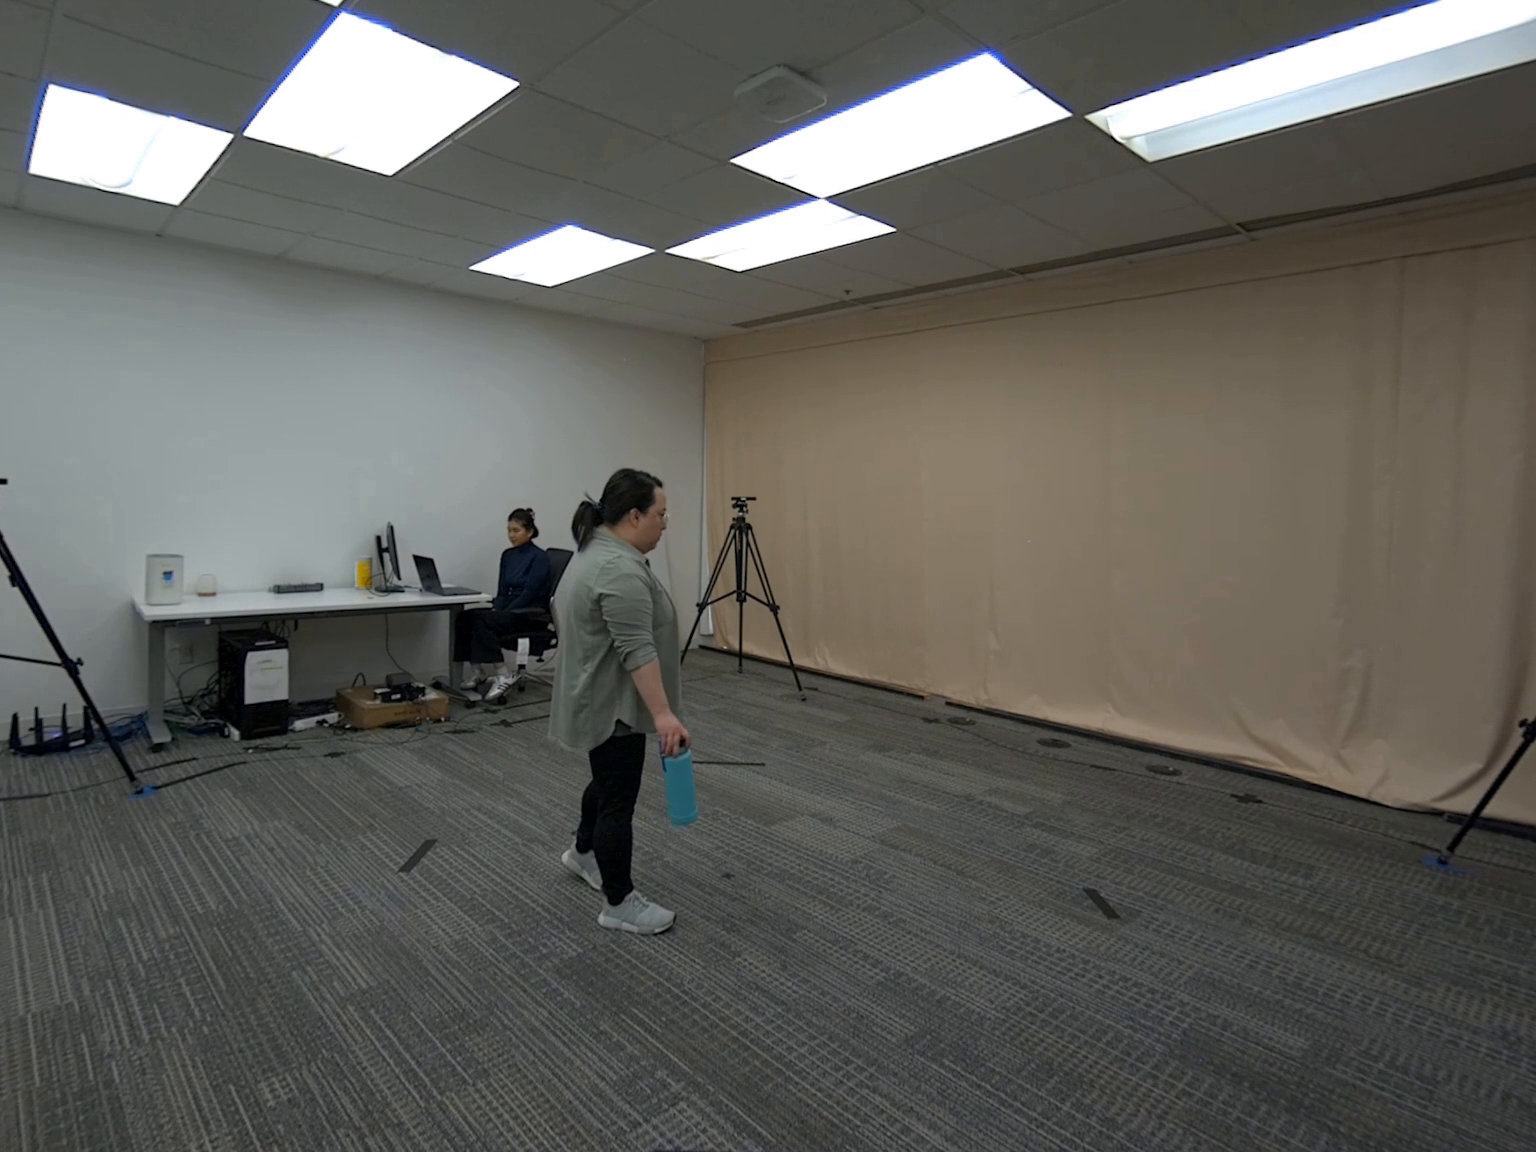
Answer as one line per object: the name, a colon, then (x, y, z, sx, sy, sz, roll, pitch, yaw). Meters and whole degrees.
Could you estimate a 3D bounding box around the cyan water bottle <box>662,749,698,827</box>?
cyan water bottle: (-0.287, 0.605, 2.527, 0.092, 0.281, 0.093, -4, 11, -1)
